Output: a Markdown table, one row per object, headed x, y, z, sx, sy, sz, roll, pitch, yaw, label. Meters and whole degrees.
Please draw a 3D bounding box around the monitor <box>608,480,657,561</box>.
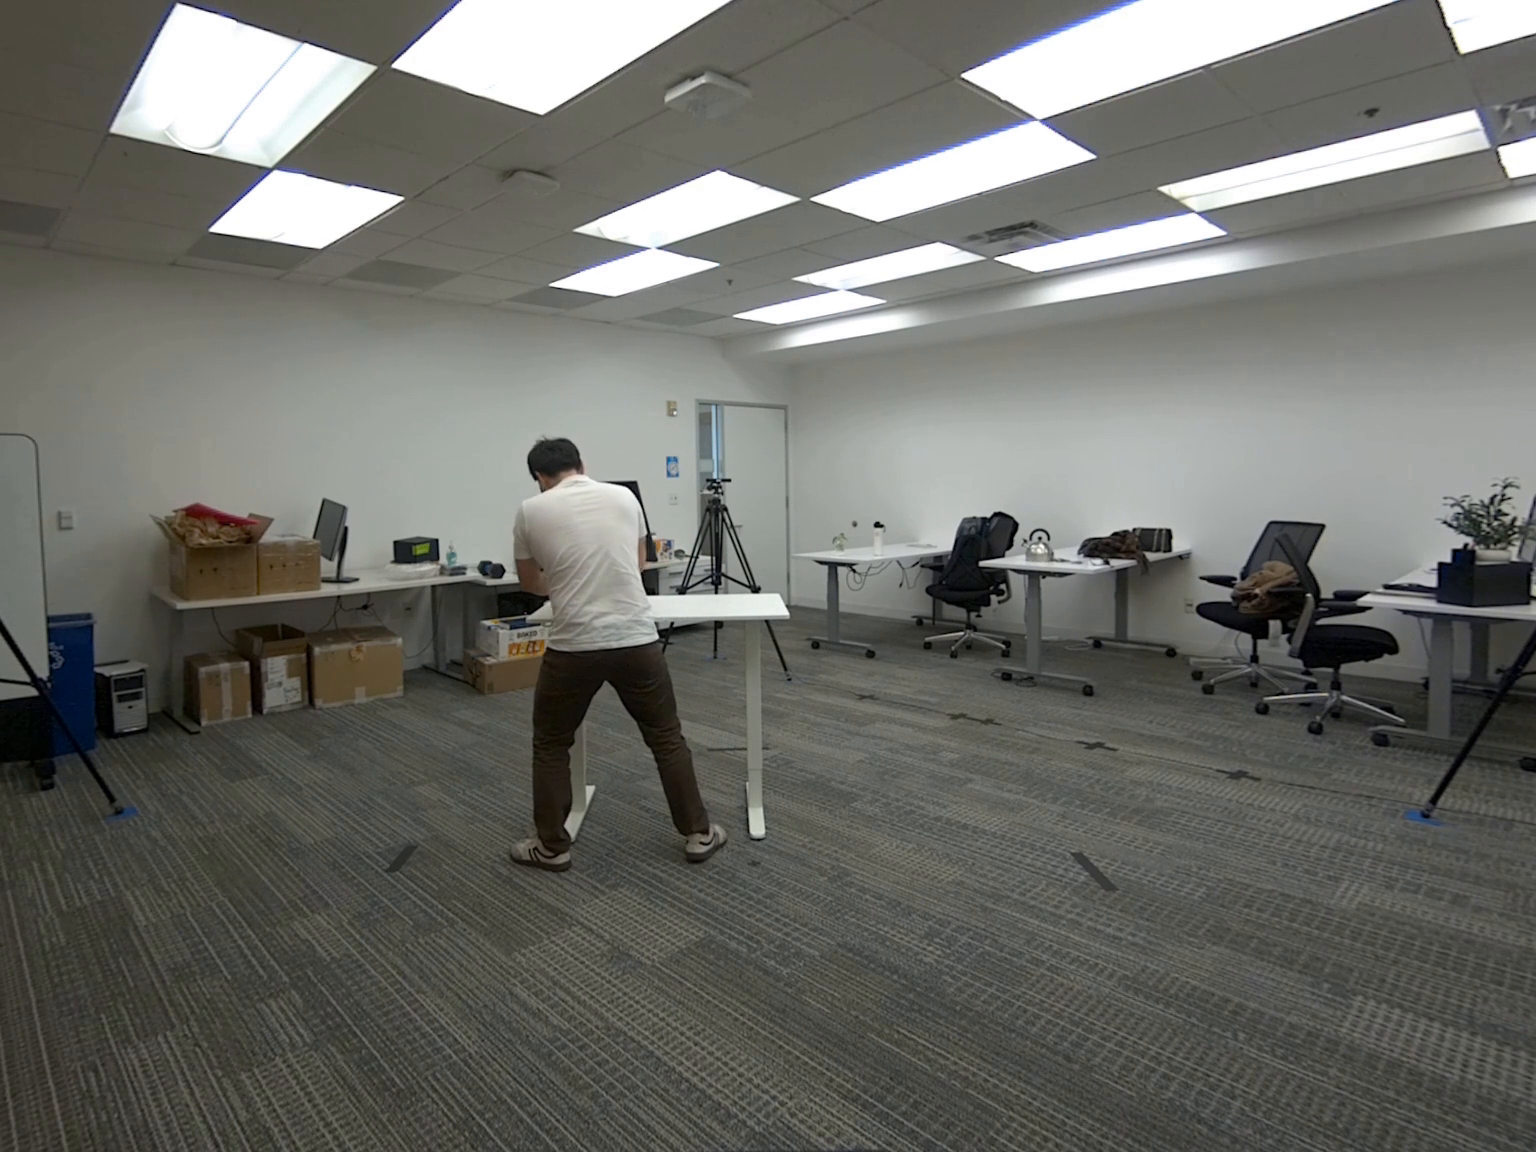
| x | y | z | sx | sy | sz | roll | pitch | yaw | label |
| --- | --- | --- | --- | --- | --- | --- | --- | --- | --- |
| -0.729 | -0.127 | 3.548 | 0.553 | 0.518 | 0.184 | 1 | 9 | 29 | monitor |
